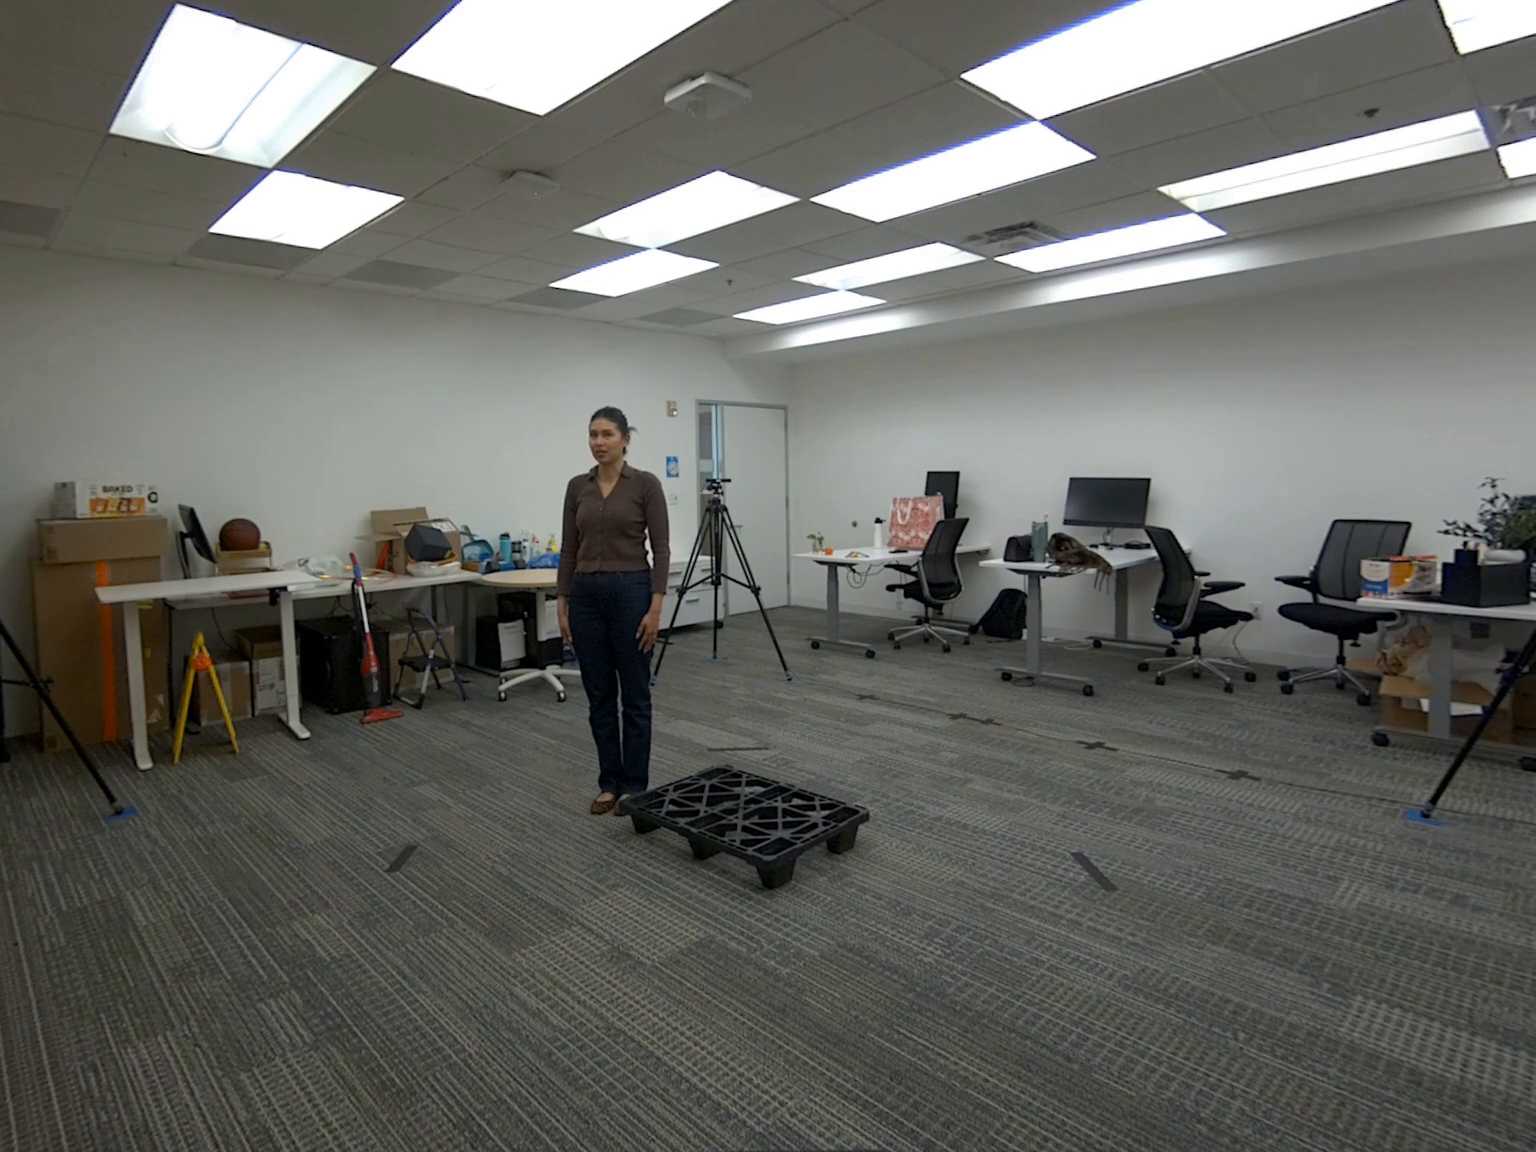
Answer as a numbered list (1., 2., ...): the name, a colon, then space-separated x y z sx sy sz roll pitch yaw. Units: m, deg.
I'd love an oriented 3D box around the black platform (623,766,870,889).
1. black platform: -0.100 0.956 3.319 0.830 0.143 0.589 5 8 43
